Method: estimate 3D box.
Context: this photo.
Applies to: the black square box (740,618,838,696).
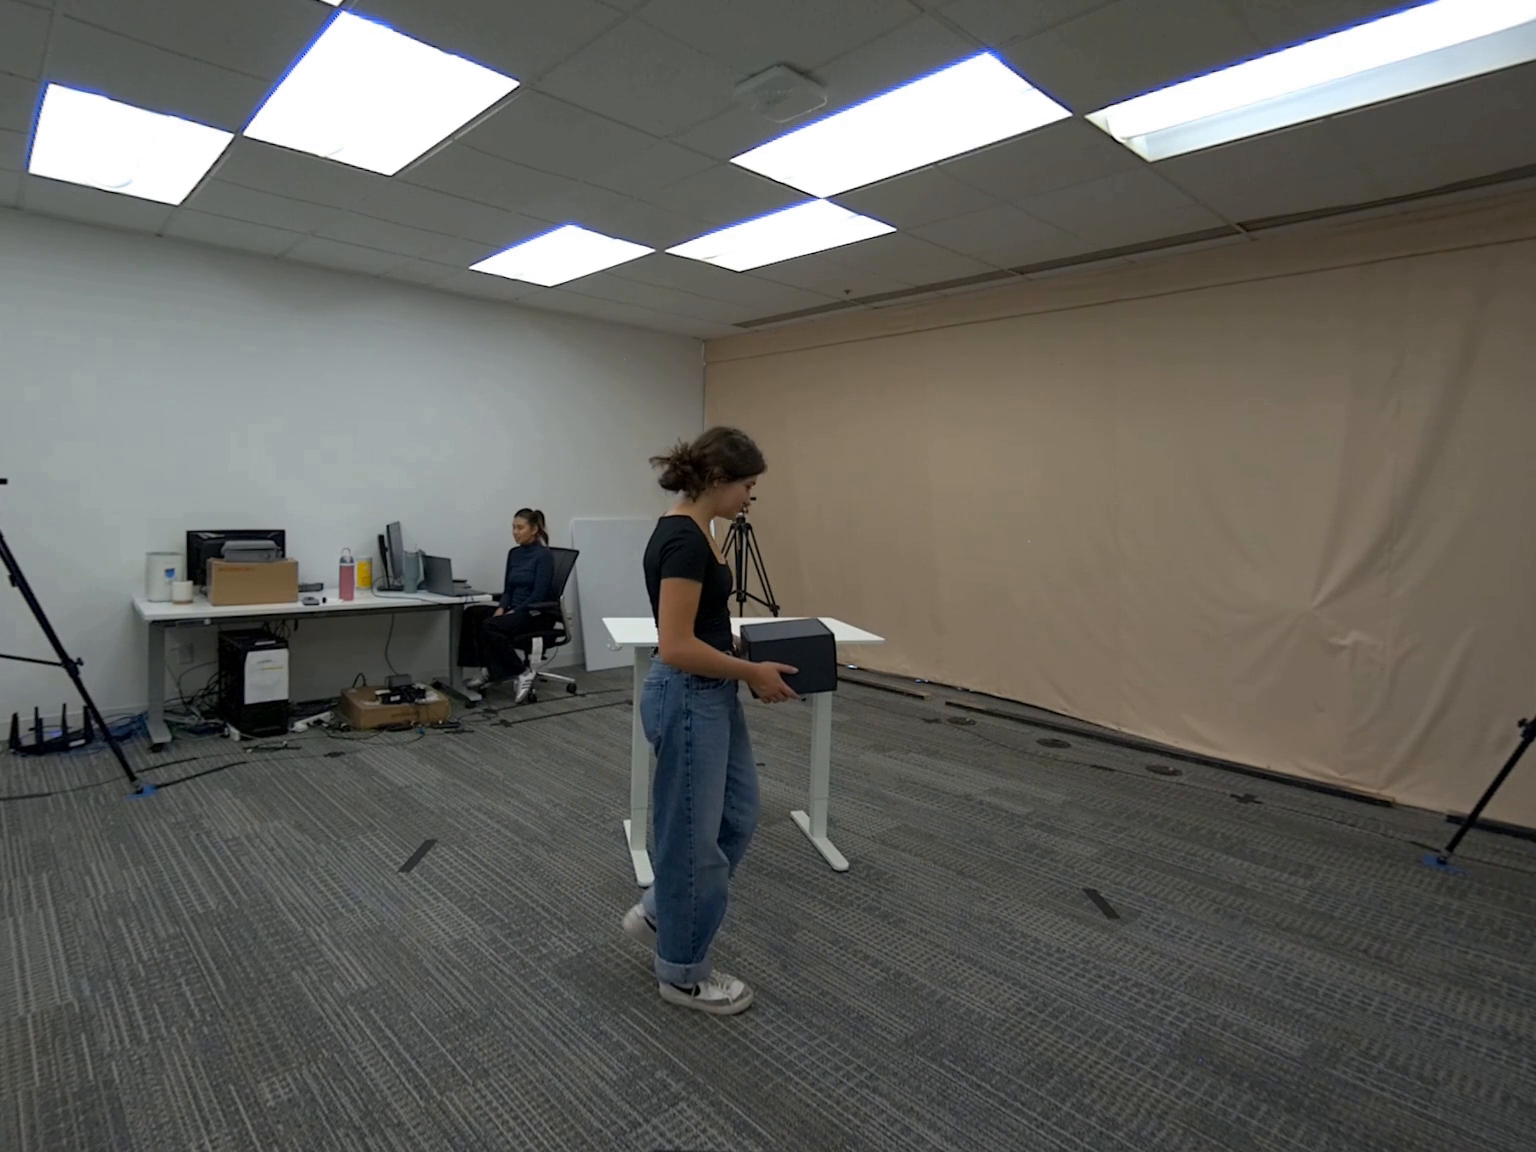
[{"bbox_3d":[0.029,0.219,2.296,0.227,0.155,0.219,-5,9,-6],"label":"black square box"}]
